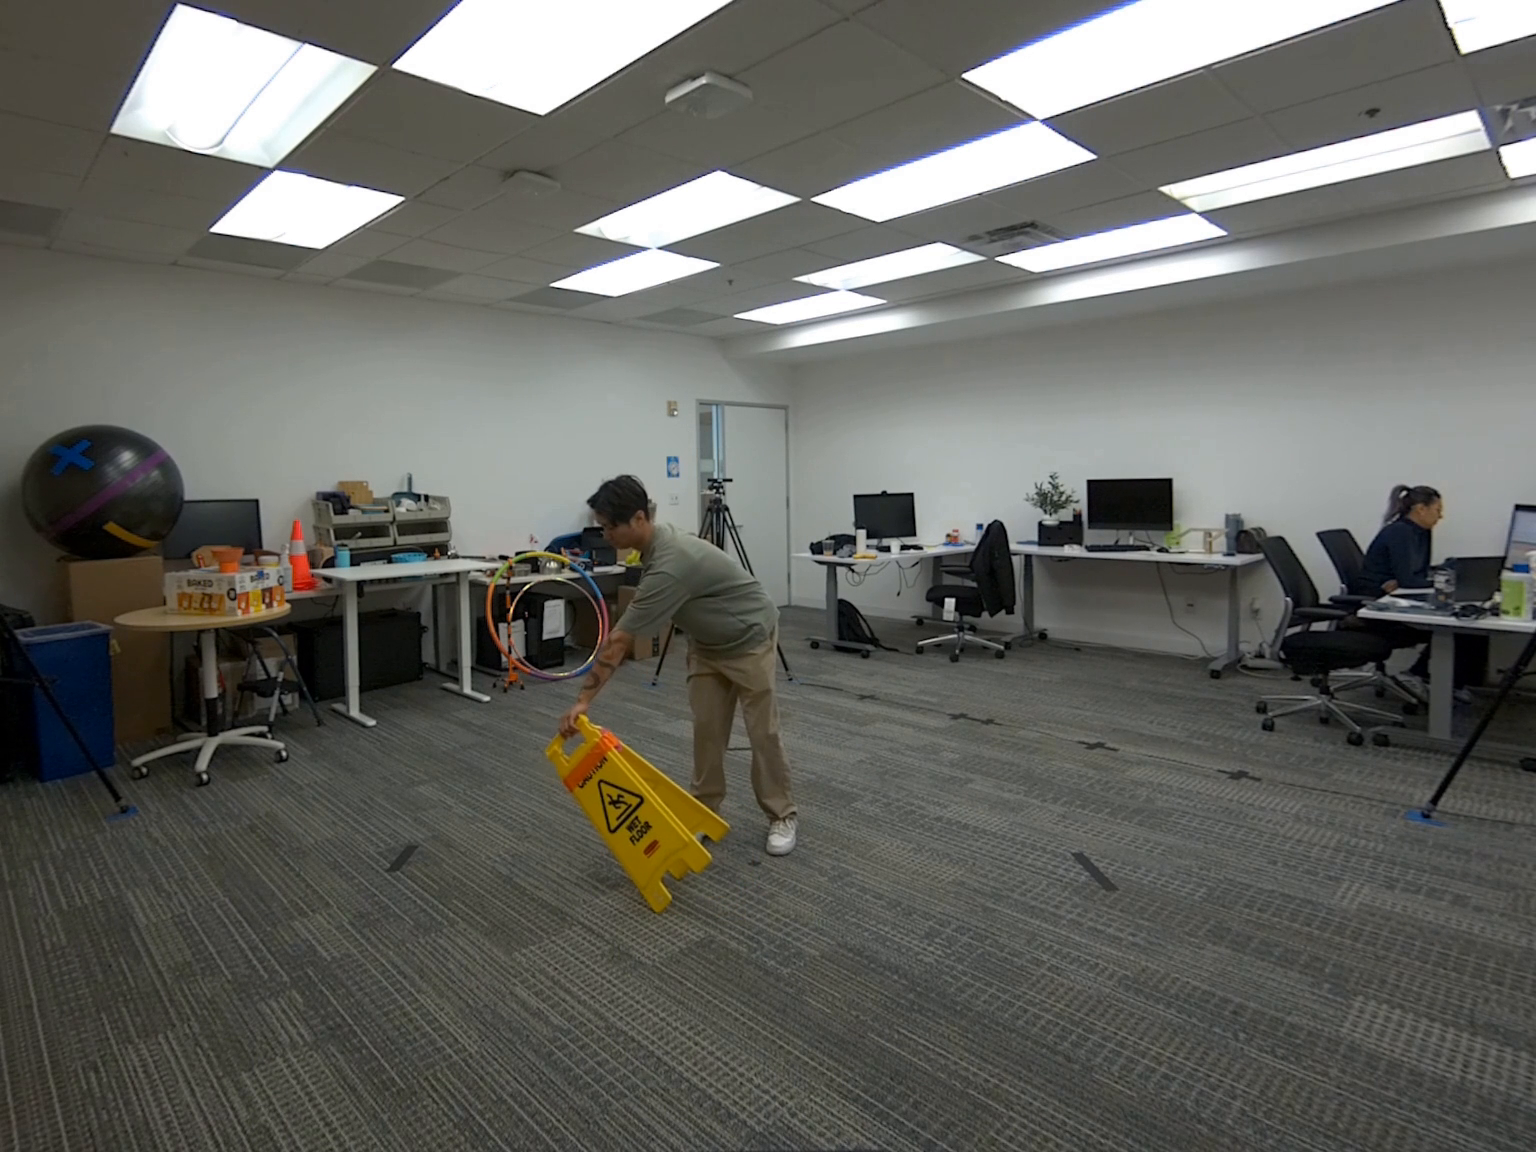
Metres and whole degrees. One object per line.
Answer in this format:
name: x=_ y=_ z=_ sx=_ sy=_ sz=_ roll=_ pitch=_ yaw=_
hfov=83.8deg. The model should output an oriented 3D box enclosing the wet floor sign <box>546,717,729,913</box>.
wet floor sign: x=-0.475 y=0.757 z=2.893 sx=0.653 sy=0.282 sz=0.287 roll=44 pitch=13 yaw=7
